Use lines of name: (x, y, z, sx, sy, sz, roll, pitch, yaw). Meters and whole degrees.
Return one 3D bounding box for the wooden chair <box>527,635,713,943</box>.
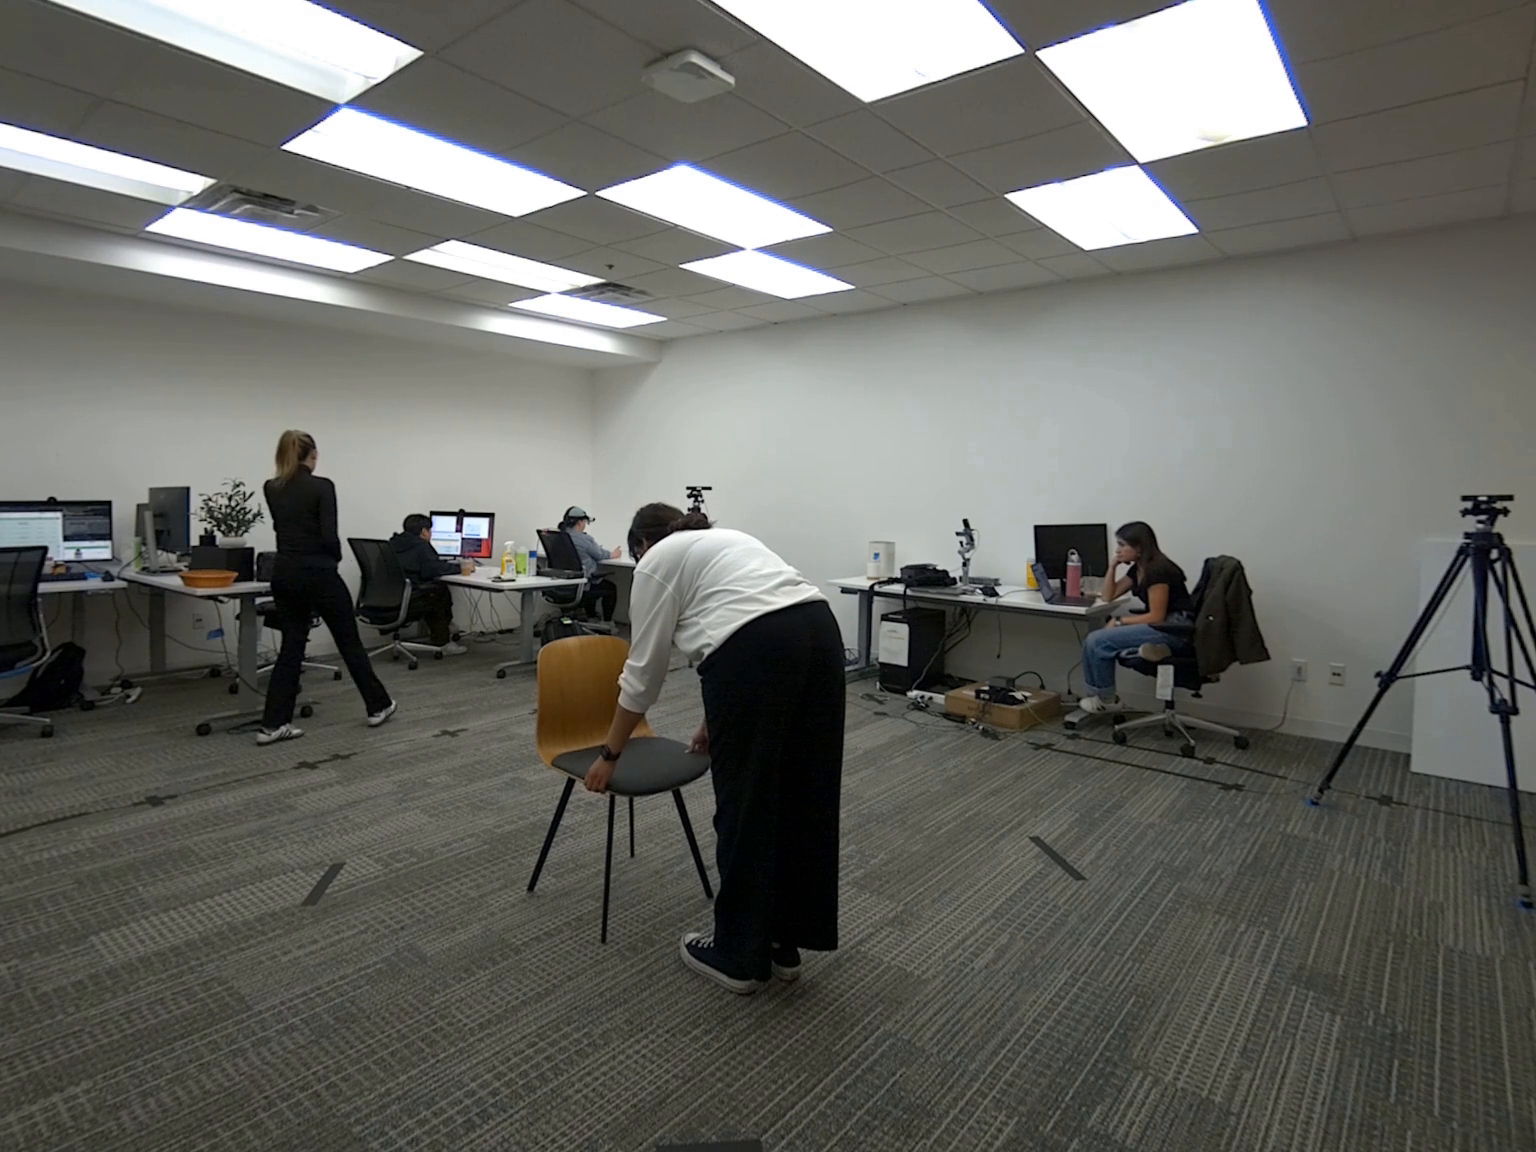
wooden chair: (-0.493, 0.655, 2.863, 0.463, 0.878, 0.539, -2, 0, -44)
